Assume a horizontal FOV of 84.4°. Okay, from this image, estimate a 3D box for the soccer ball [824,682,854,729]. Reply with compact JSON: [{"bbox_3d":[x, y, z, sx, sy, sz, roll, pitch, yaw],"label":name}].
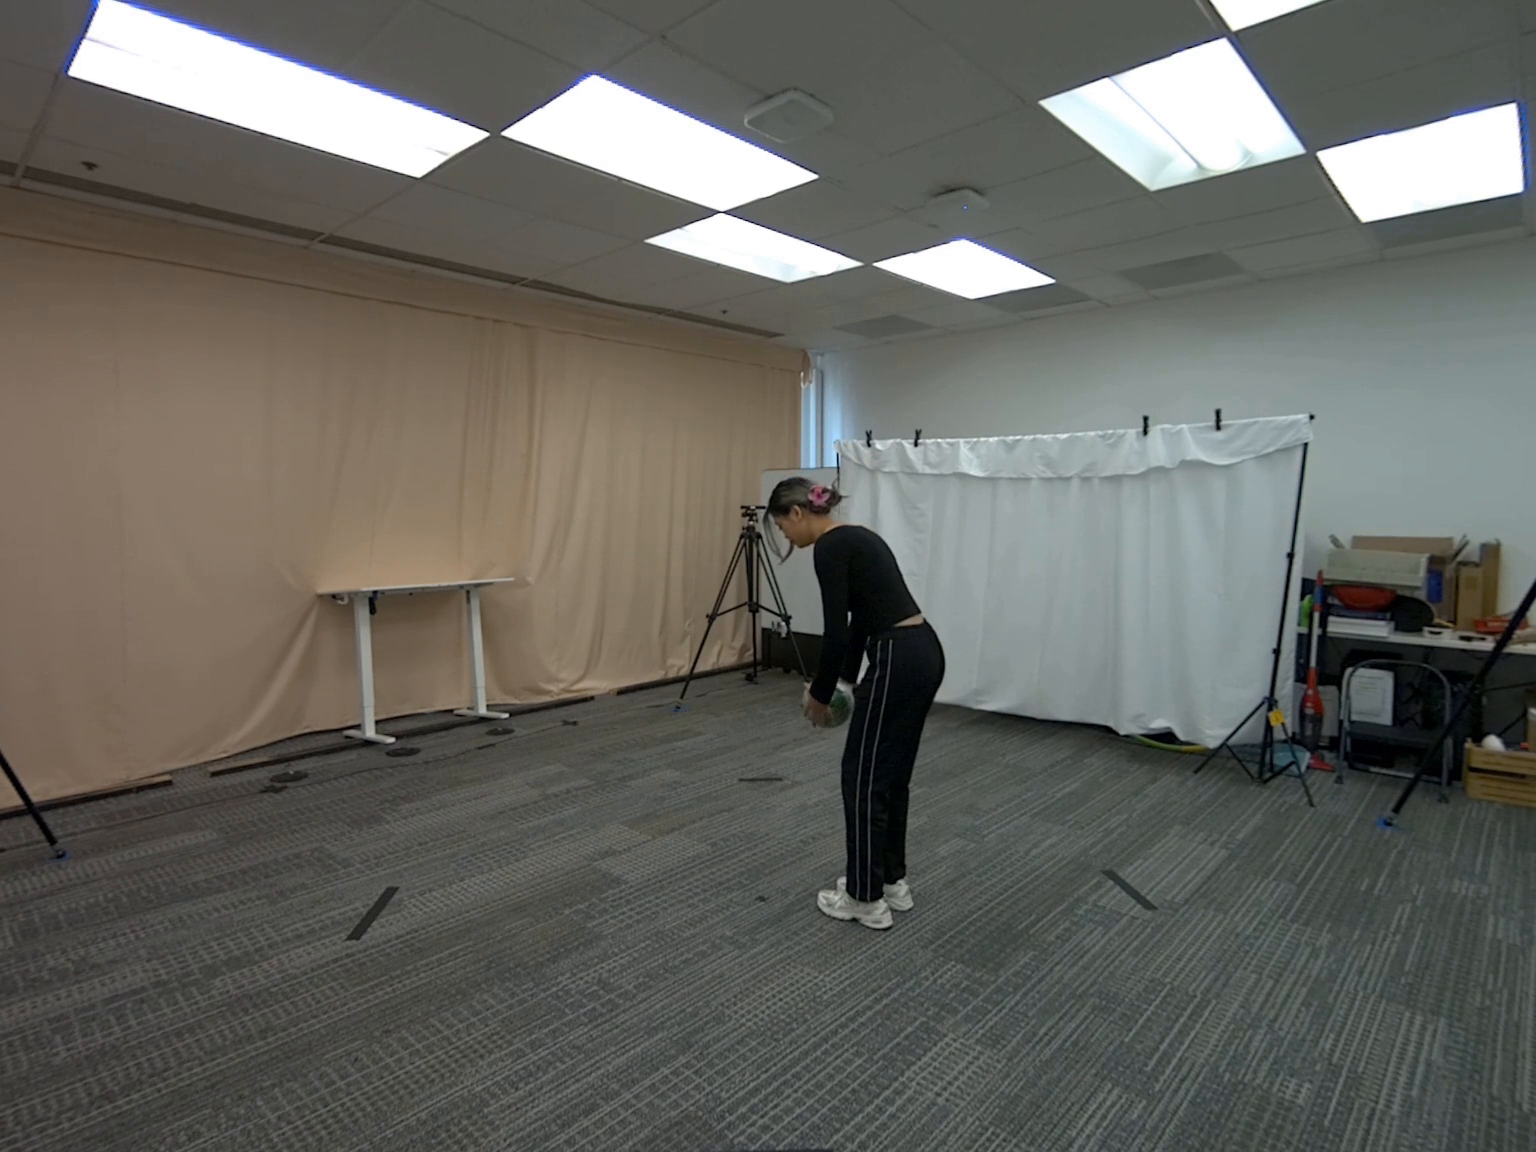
[{"bbox_3d":[0.227,0.463,3.069,0.187,0.187,0.188,0,4,-2],"label":"soccer ball"}]
